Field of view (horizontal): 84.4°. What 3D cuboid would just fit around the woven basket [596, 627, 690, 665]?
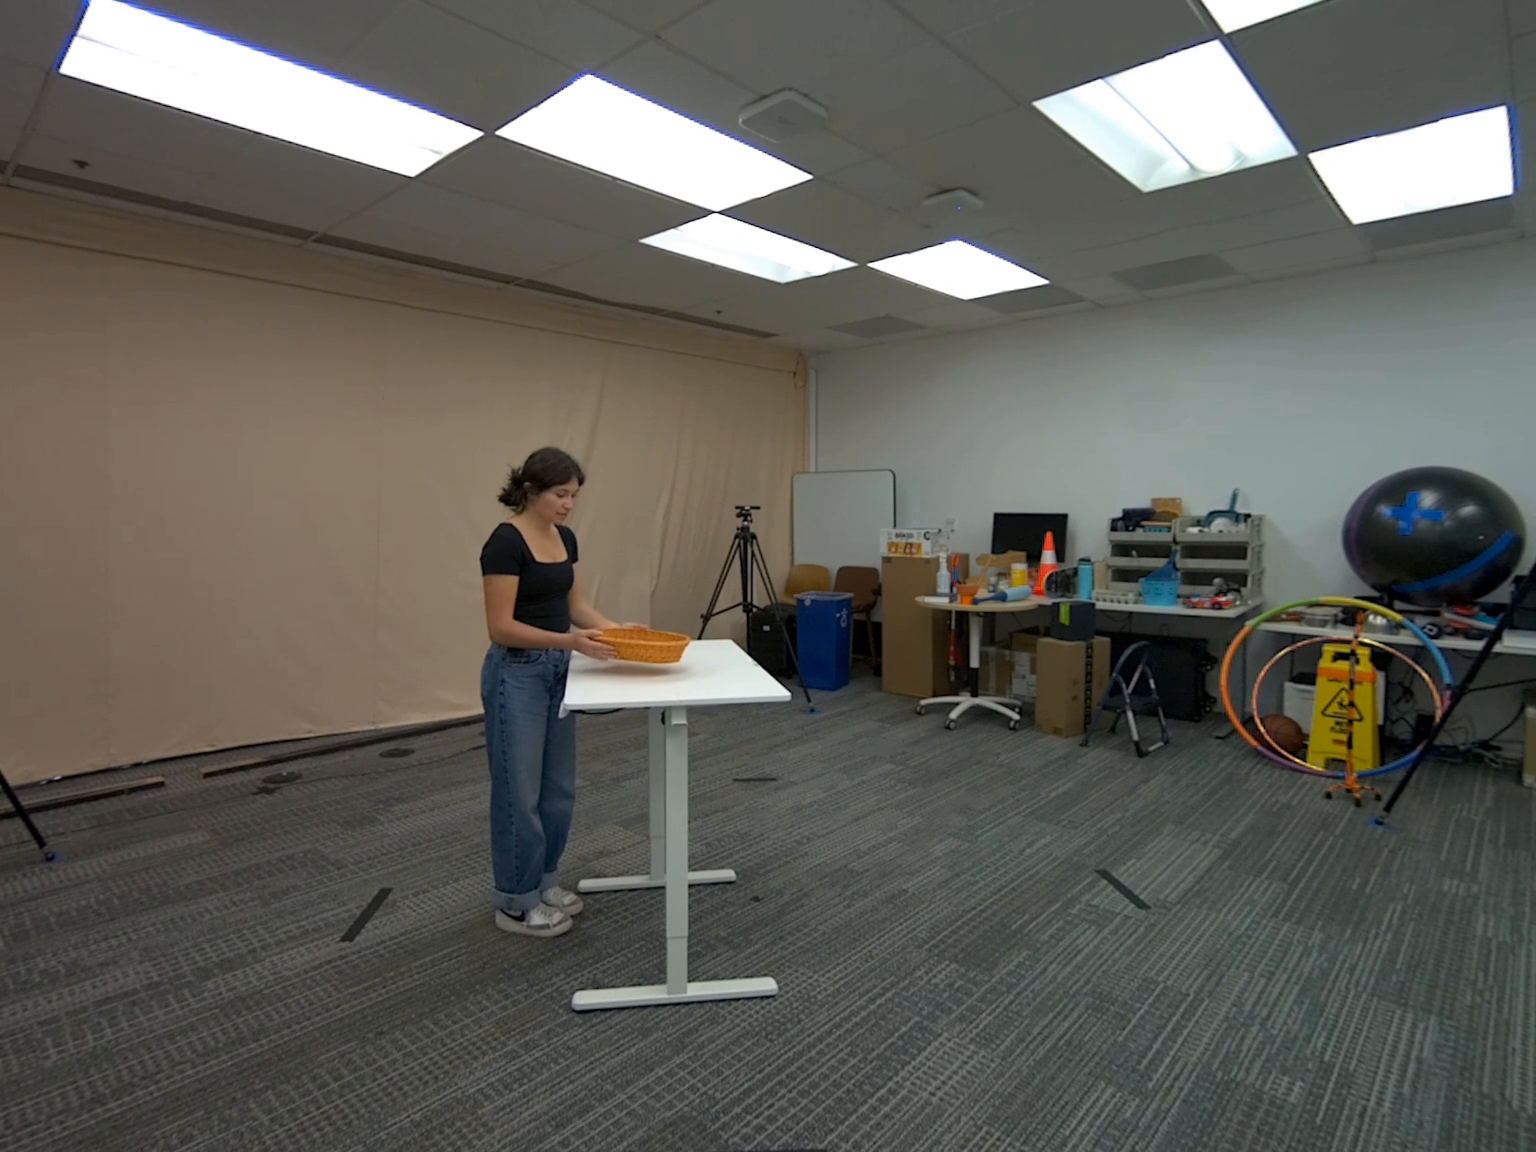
[{"bbox_3d":[-0.408,0.232,2.562,0.353,0.073,0.251,2,4,6],"label":"woven basket"}]
